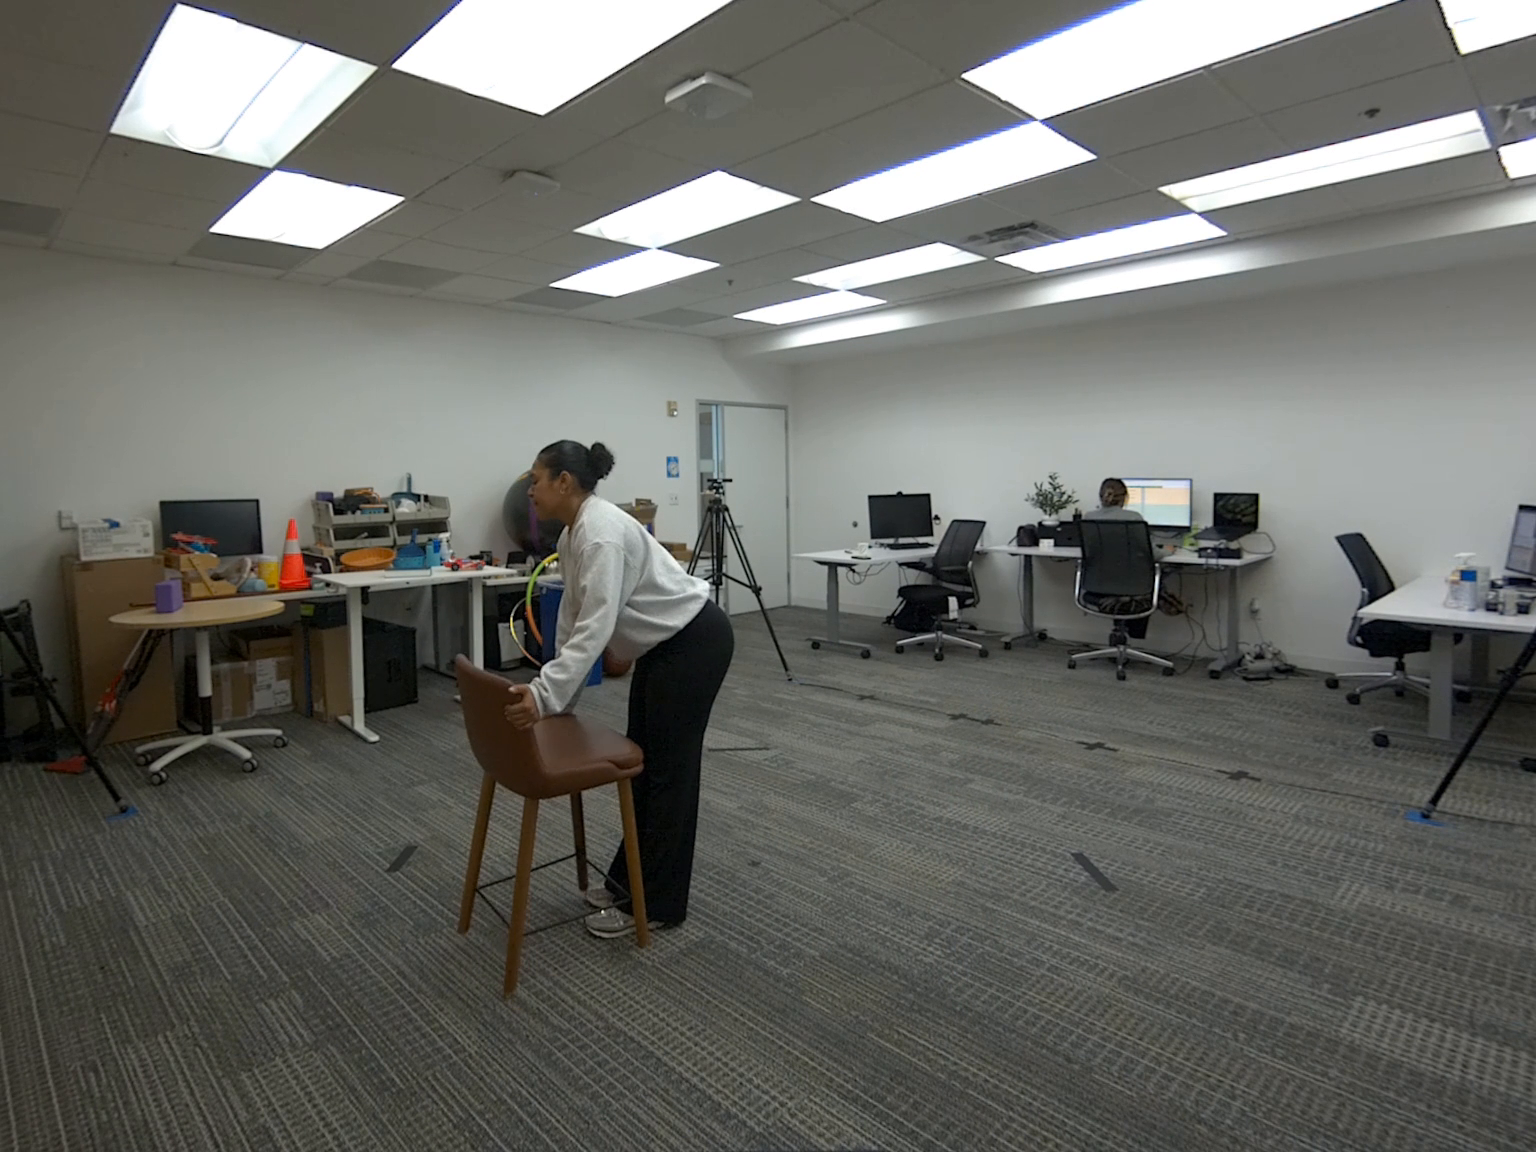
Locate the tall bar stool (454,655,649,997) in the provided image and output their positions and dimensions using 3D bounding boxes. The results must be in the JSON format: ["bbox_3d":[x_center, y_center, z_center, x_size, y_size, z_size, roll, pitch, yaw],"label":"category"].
[{"bbox_3d":[-0.652,0.660,2.554,0.456,0.884,0.471,-6,10,-38],"label":"tall bar stool"}]
